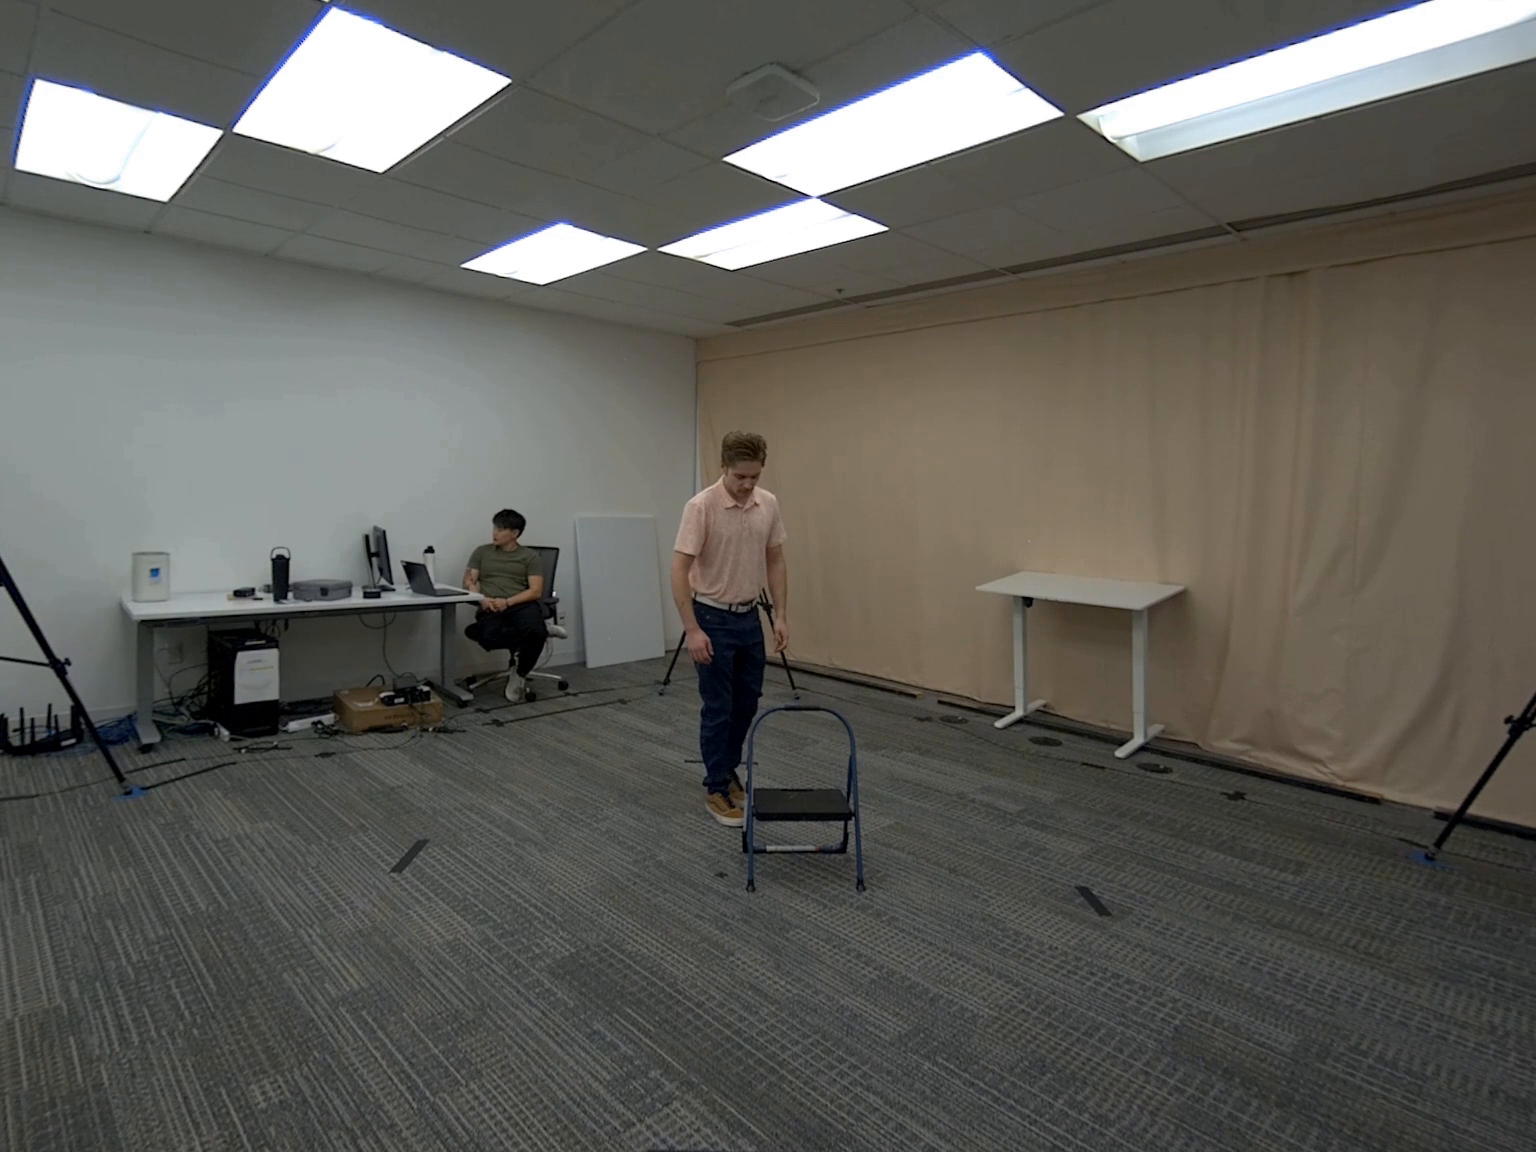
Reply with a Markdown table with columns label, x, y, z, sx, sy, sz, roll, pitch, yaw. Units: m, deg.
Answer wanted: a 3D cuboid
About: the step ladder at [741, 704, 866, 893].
| label | x | y | z | sx | sy | sz | roll | pitch | yaw |
| --- | --- | --- | --- | --- | --- | --- | --- | --- | --- |
| step ladder | 0.124 | 0.808 | 3.150 | 0.429 | 0.604 | 0.352 | 2 | 4 | -6 |
